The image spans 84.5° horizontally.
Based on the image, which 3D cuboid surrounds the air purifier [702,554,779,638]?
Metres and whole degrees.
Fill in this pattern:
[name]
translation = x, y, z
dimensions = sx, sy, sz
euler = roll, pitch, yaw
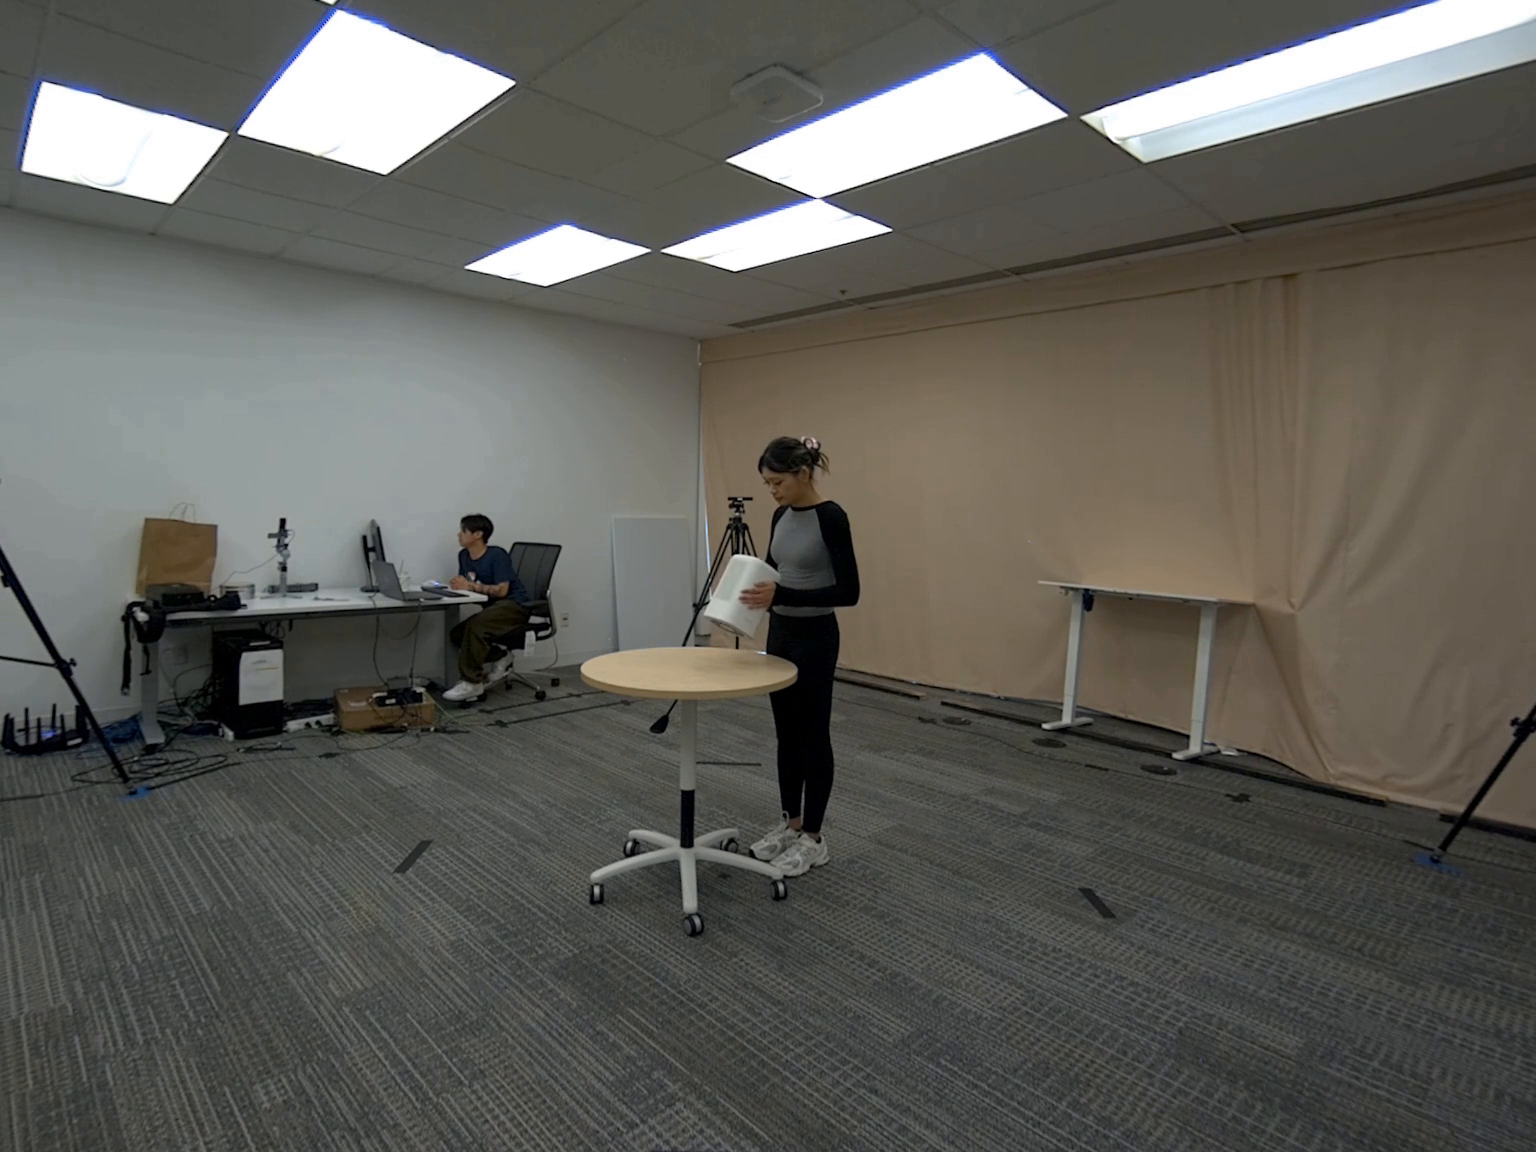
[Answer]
[air purifier]
translation = -0.094, 0.074, 3.044
dimensions = 0.166, 0.266, 0.176
euler = 35, -17, -37
